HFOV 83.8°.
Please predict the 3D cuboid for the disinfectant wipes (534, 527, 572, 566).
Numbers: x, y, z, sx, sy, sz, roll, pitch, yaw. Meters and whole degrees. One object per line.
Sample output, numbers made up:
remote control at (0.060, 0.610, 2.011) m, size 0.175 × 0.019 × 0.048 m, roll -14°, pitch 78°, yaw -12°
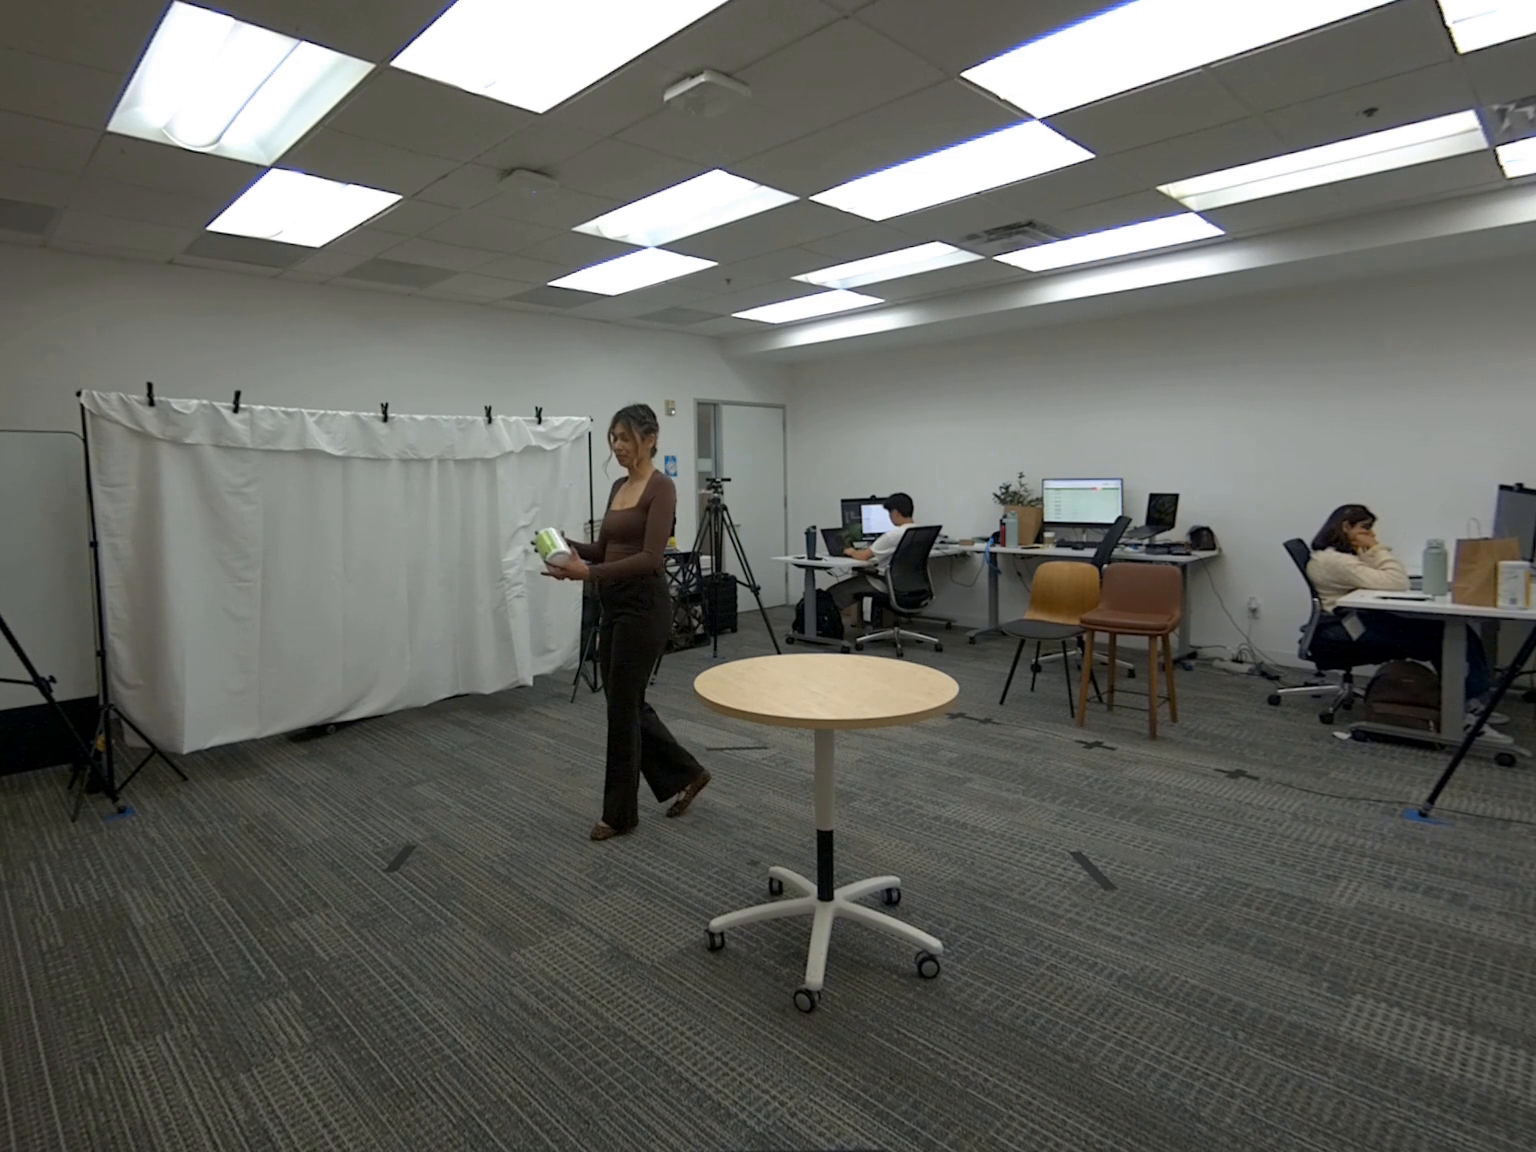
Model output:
disinfectant wipes at (-0.805, -0.093, 3.248) m, size 0.115 × 0.116 × 0.226 m, roll -4°, pitch 27°, yaw -28°
